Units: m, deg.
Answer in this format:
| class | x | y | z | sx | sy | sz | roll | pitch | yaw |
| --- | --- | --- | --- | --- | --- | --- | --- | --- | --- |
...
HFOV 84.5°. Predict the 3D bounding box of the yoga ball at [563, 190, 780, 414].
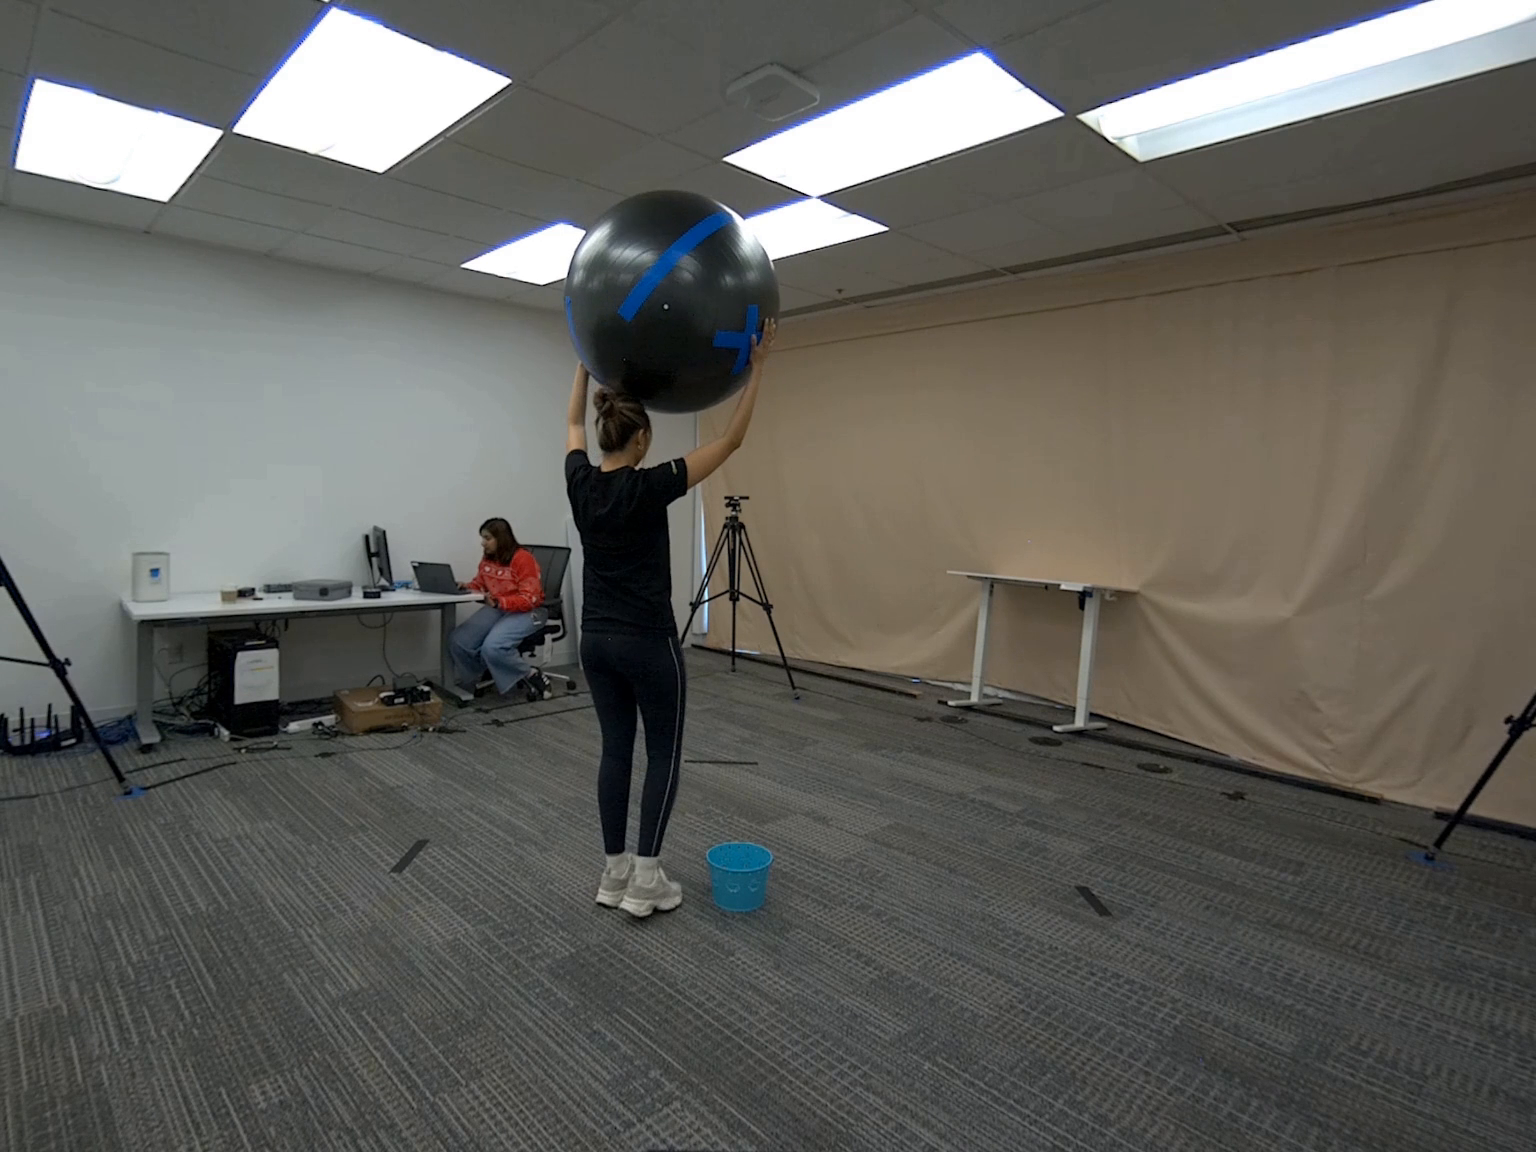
| class | x | y | z | sx | sy | sz | roll | pitch | yaw |
| --- | --- | --- | --- | --- | --- | --- | --- | --- | --- |
| yoga ball | -0.340 | -0.949 | 2.972 | 0.757 | 0.756 | 0.761 | 1 | 4 | -1 |
